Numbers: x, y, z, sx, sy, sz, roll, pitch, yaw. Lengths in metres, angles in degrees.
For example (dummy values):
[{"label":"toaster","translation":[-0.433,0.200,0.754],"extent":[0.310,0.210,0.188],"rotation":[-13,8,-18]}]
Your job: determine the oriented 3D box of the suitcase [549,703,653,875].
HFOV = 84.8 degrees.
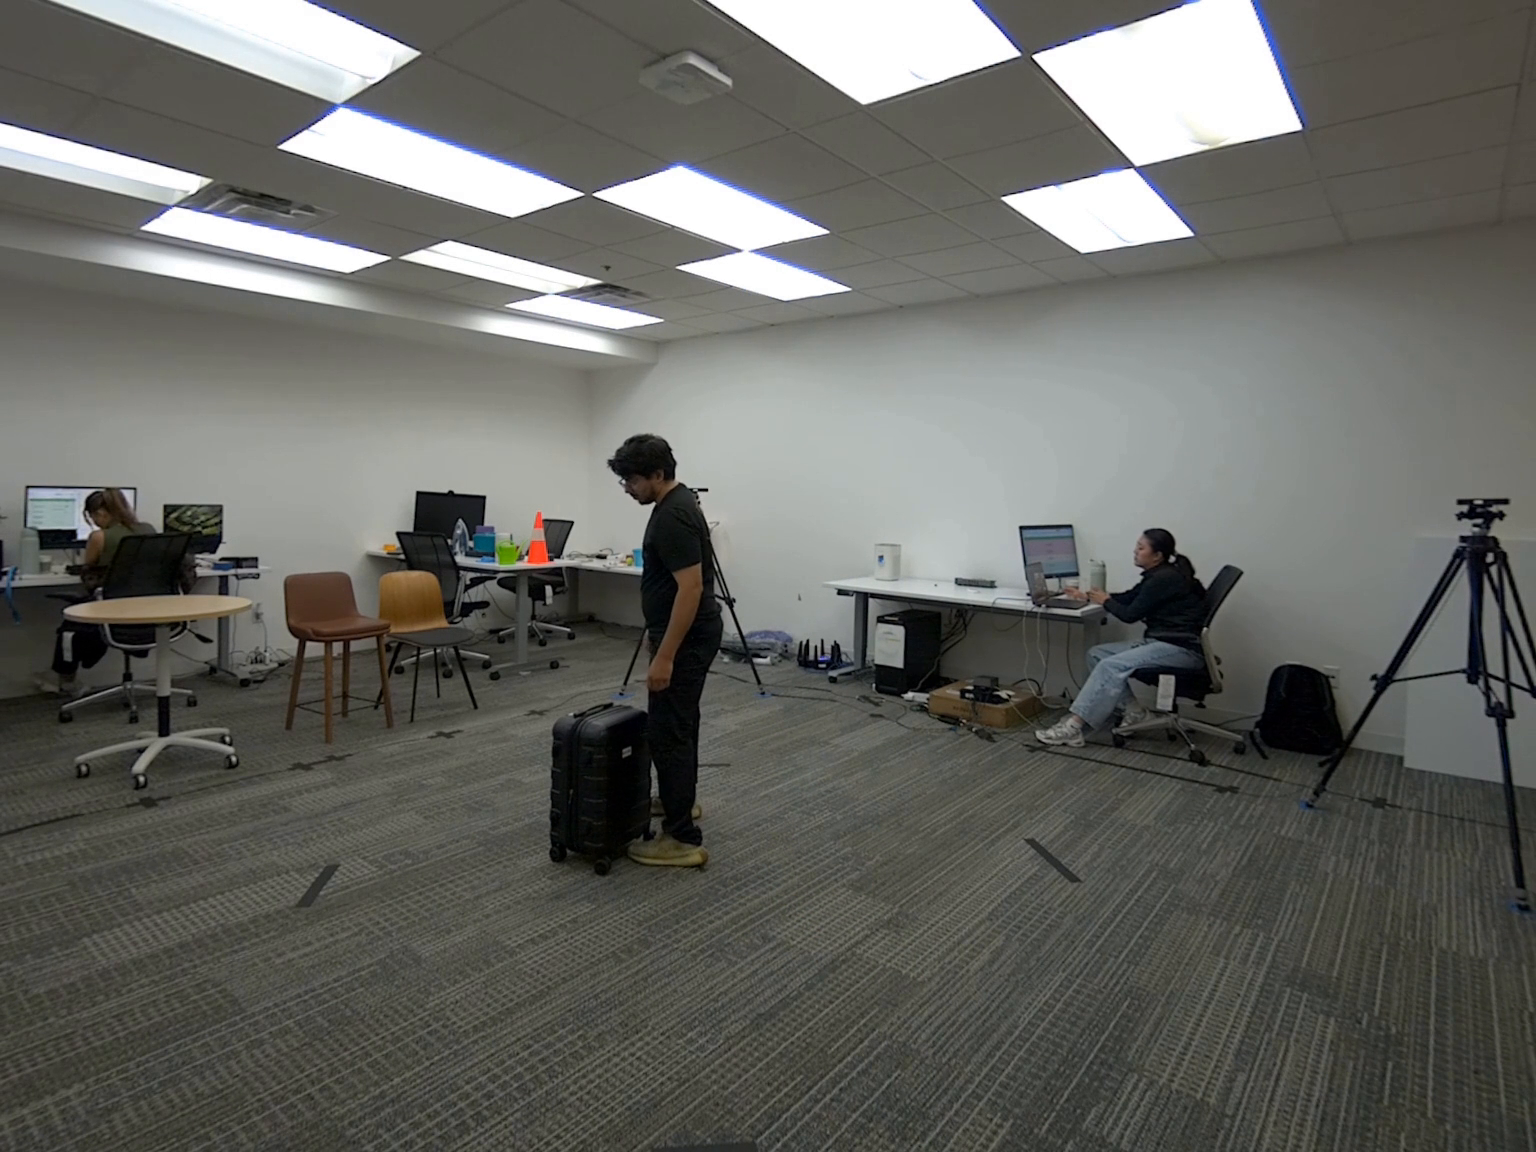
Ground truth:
[{"label":"suitcase","translation":[-0.642,0.775,3.233],"extent":[0.255,0.549,0.366],"rotation":[1,2,28]}]
